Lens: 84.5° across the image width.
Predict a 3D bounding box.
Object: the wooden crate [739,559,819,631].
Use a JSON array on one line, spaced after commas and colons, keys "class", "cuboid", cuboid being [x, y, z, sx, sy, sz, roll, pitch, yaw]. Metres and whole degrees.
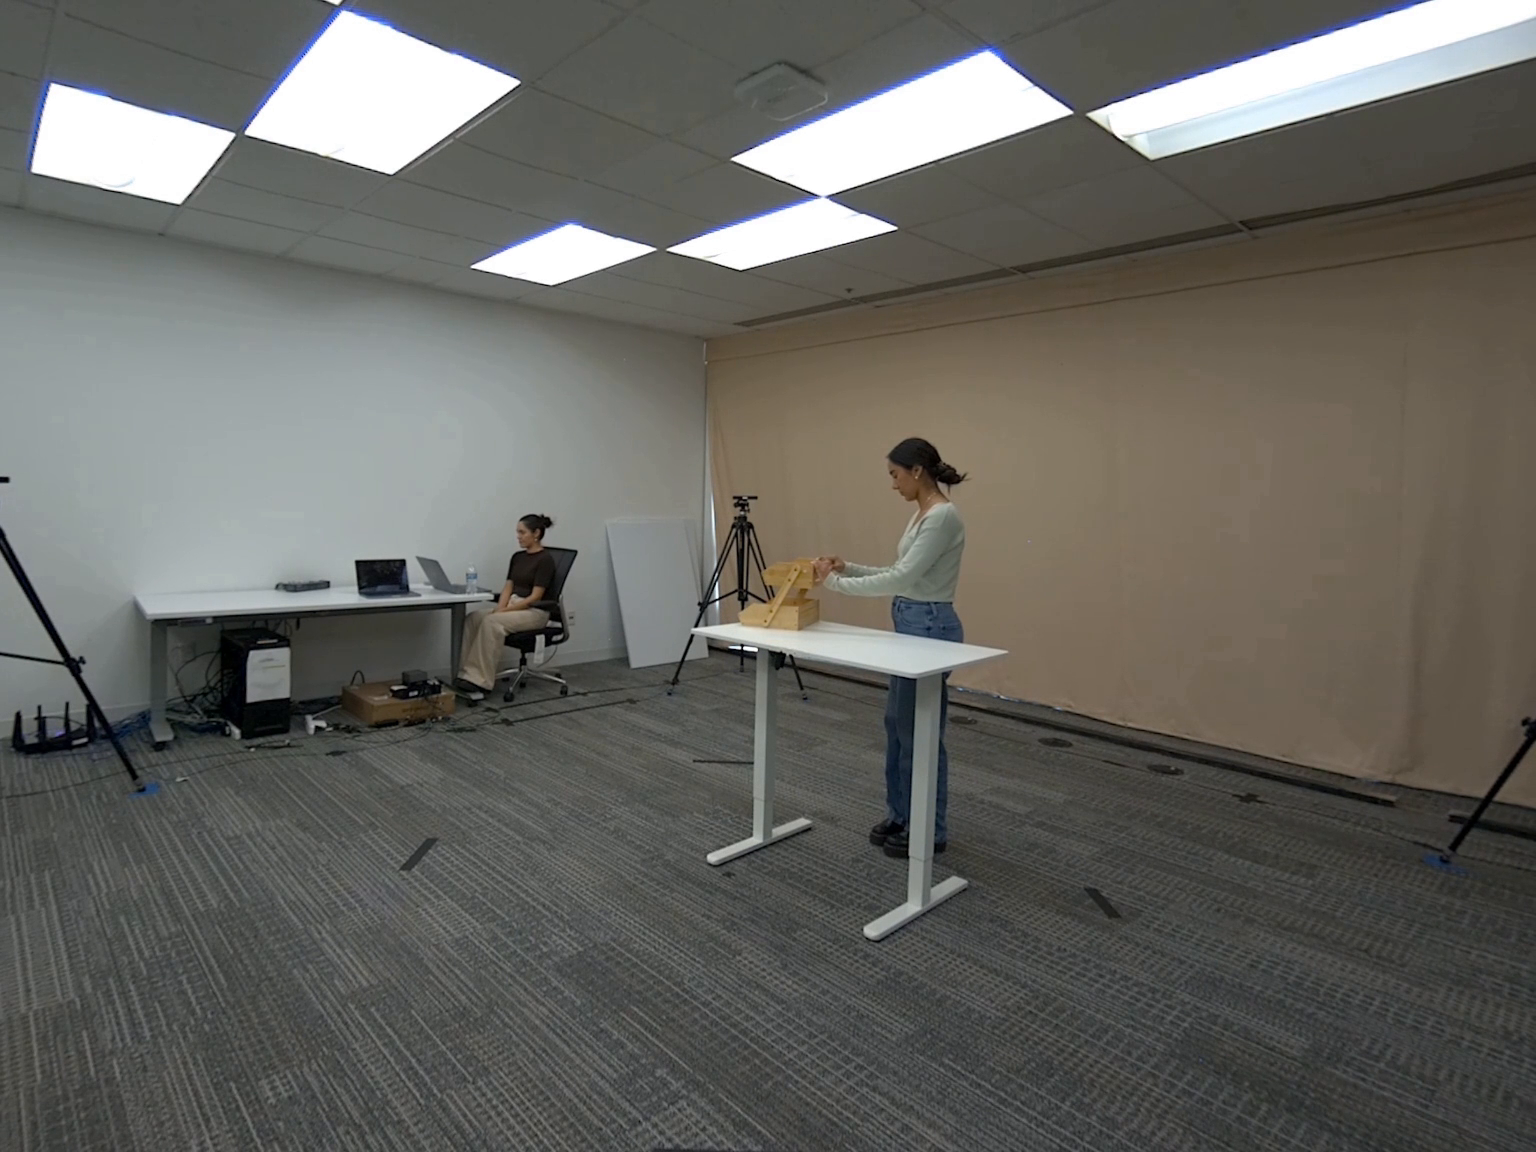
[{"class": "wooden crate", "cuboid": [0.070, 0.057, 3.407, 0.307, 0.272, 0.320, 3, 6, 20]}]
